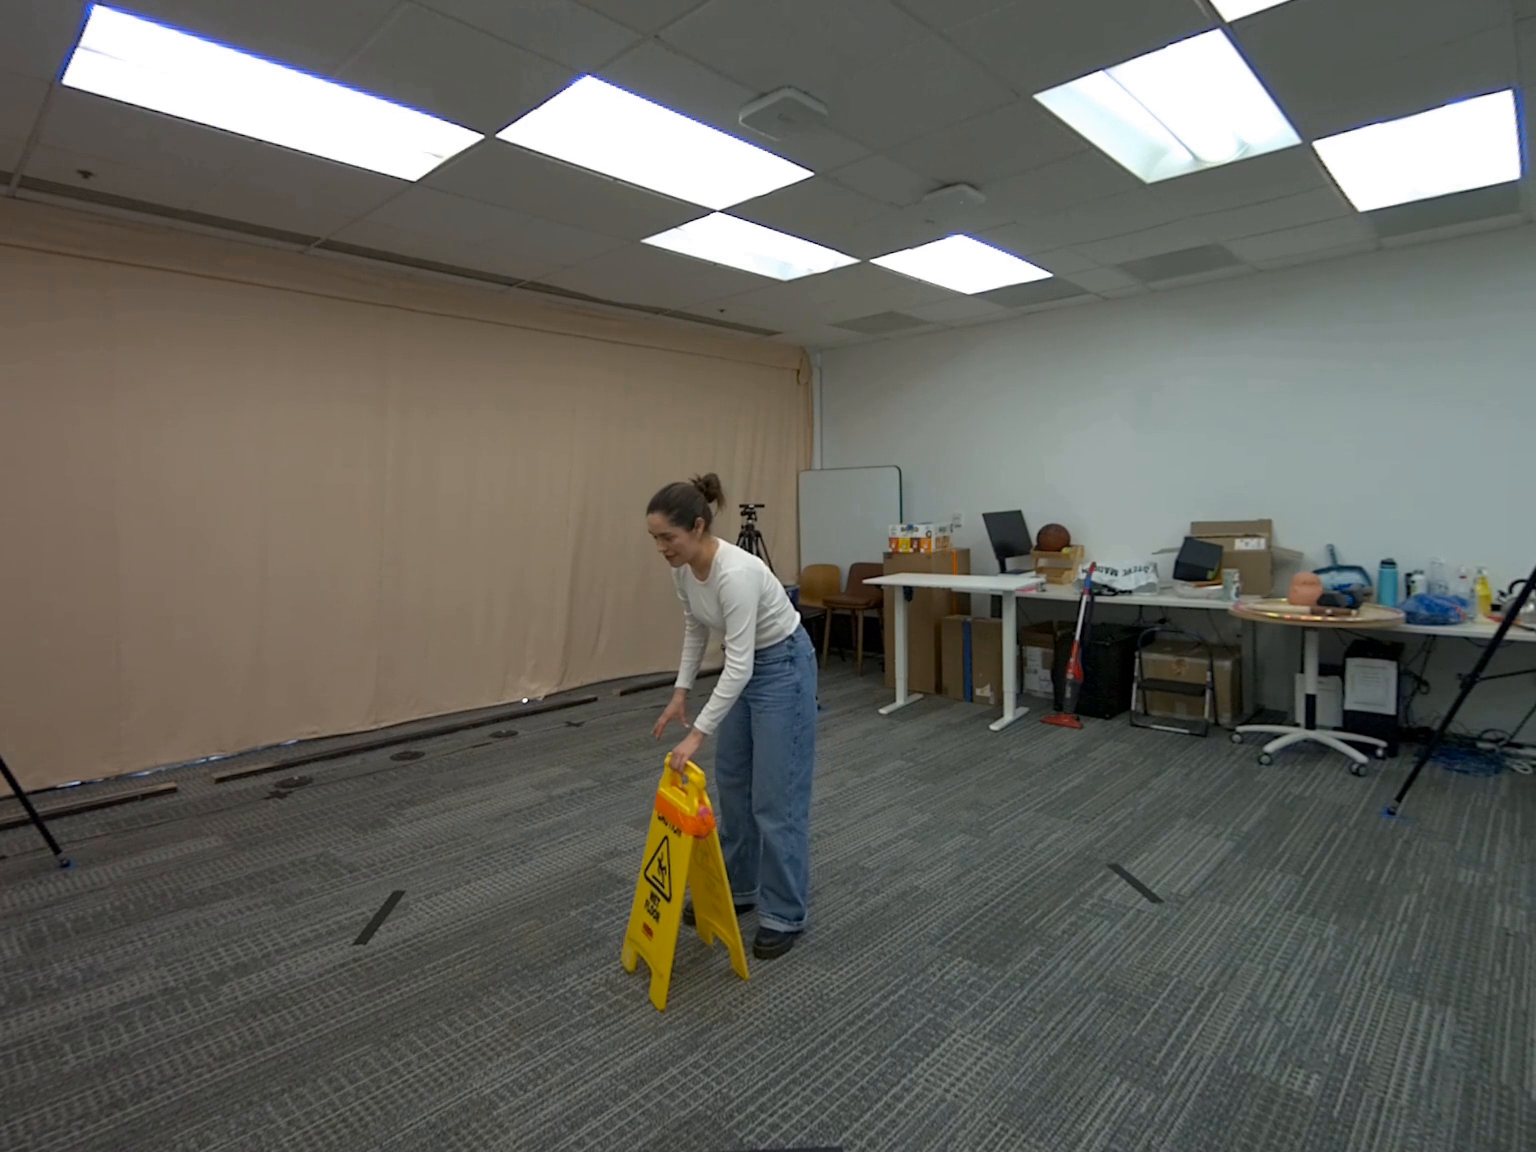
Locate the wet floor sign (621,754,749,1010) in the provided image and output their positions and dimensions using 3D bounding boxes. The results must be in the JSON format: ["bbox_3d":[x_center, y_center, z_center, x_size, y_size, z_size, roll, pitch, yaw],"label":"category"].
[{"bbox_3d":[-0.243,0.859,2.474,0.281,0.643,0.291,-2,8,-33],"label":"wet floor sign"}]
